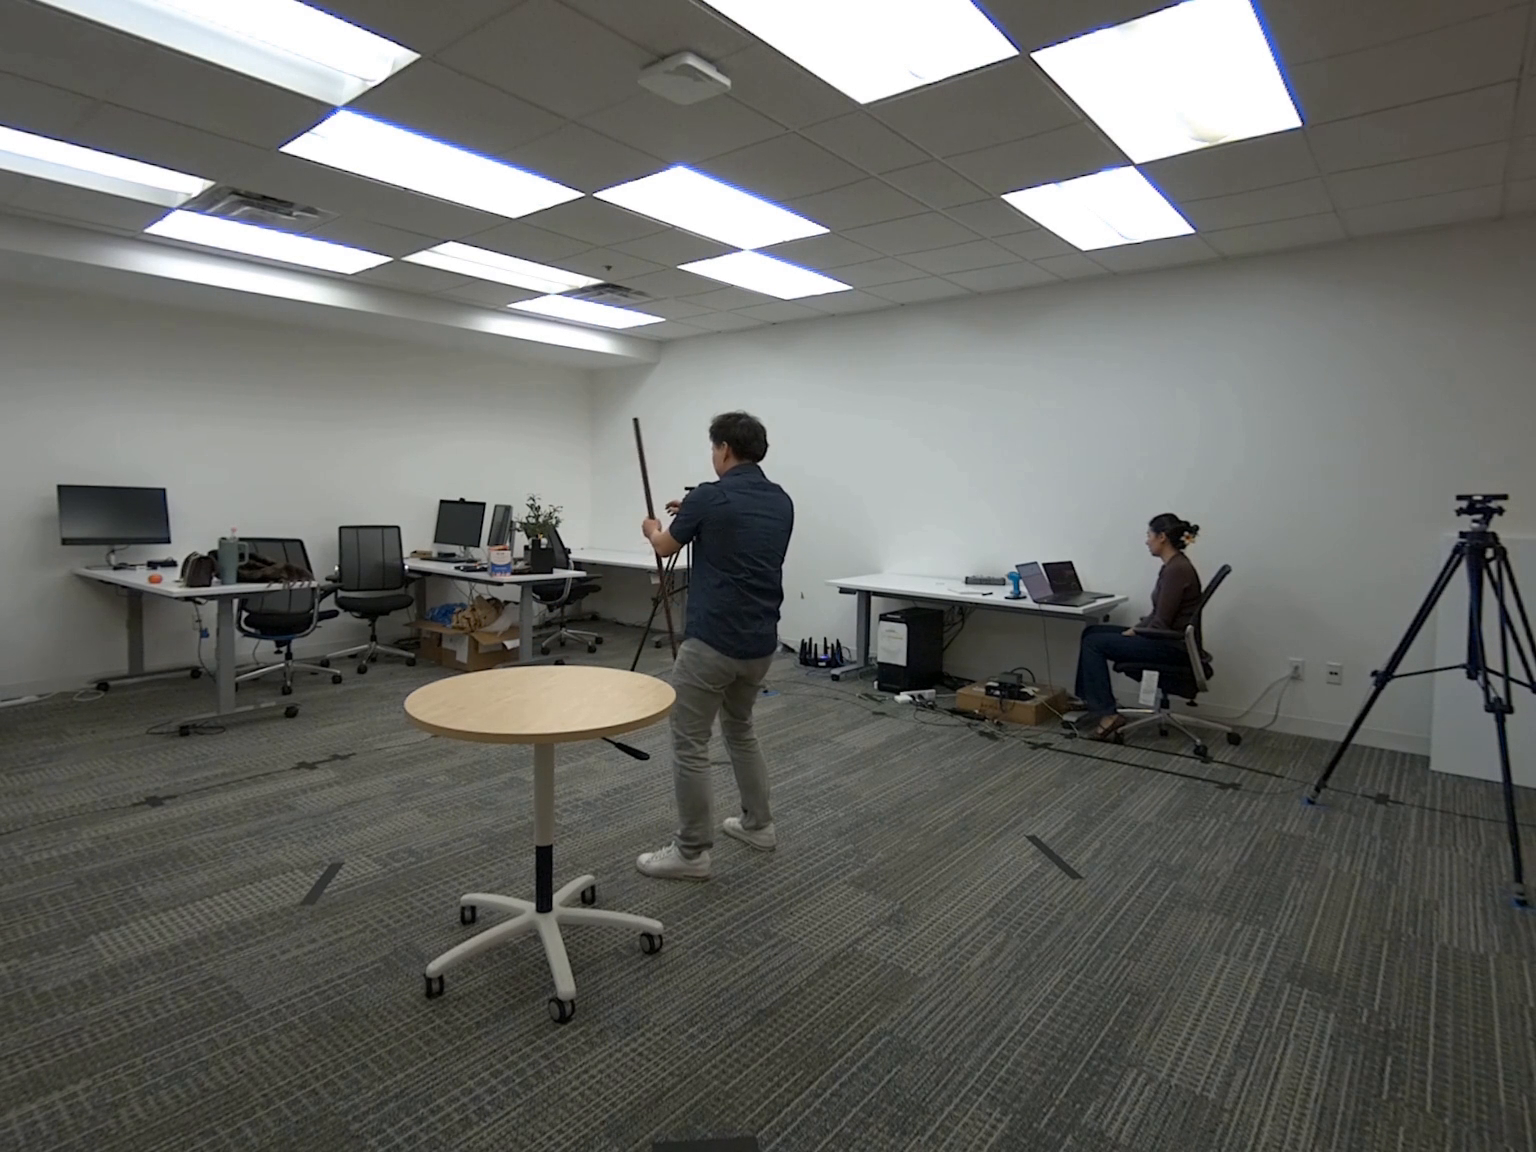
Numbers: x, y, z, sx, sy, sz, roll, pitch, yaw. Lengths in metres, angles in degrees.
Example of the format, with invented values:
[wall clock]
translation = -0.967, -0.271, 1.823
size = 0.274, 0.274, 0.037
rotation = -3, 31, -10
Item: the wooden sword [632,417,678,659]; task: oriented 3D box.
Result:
[wooden sword]
translation = -0.483, -0.161, 3.504
size = 0.023, 1.018, 0.053
rotation = -13, 7, -32
